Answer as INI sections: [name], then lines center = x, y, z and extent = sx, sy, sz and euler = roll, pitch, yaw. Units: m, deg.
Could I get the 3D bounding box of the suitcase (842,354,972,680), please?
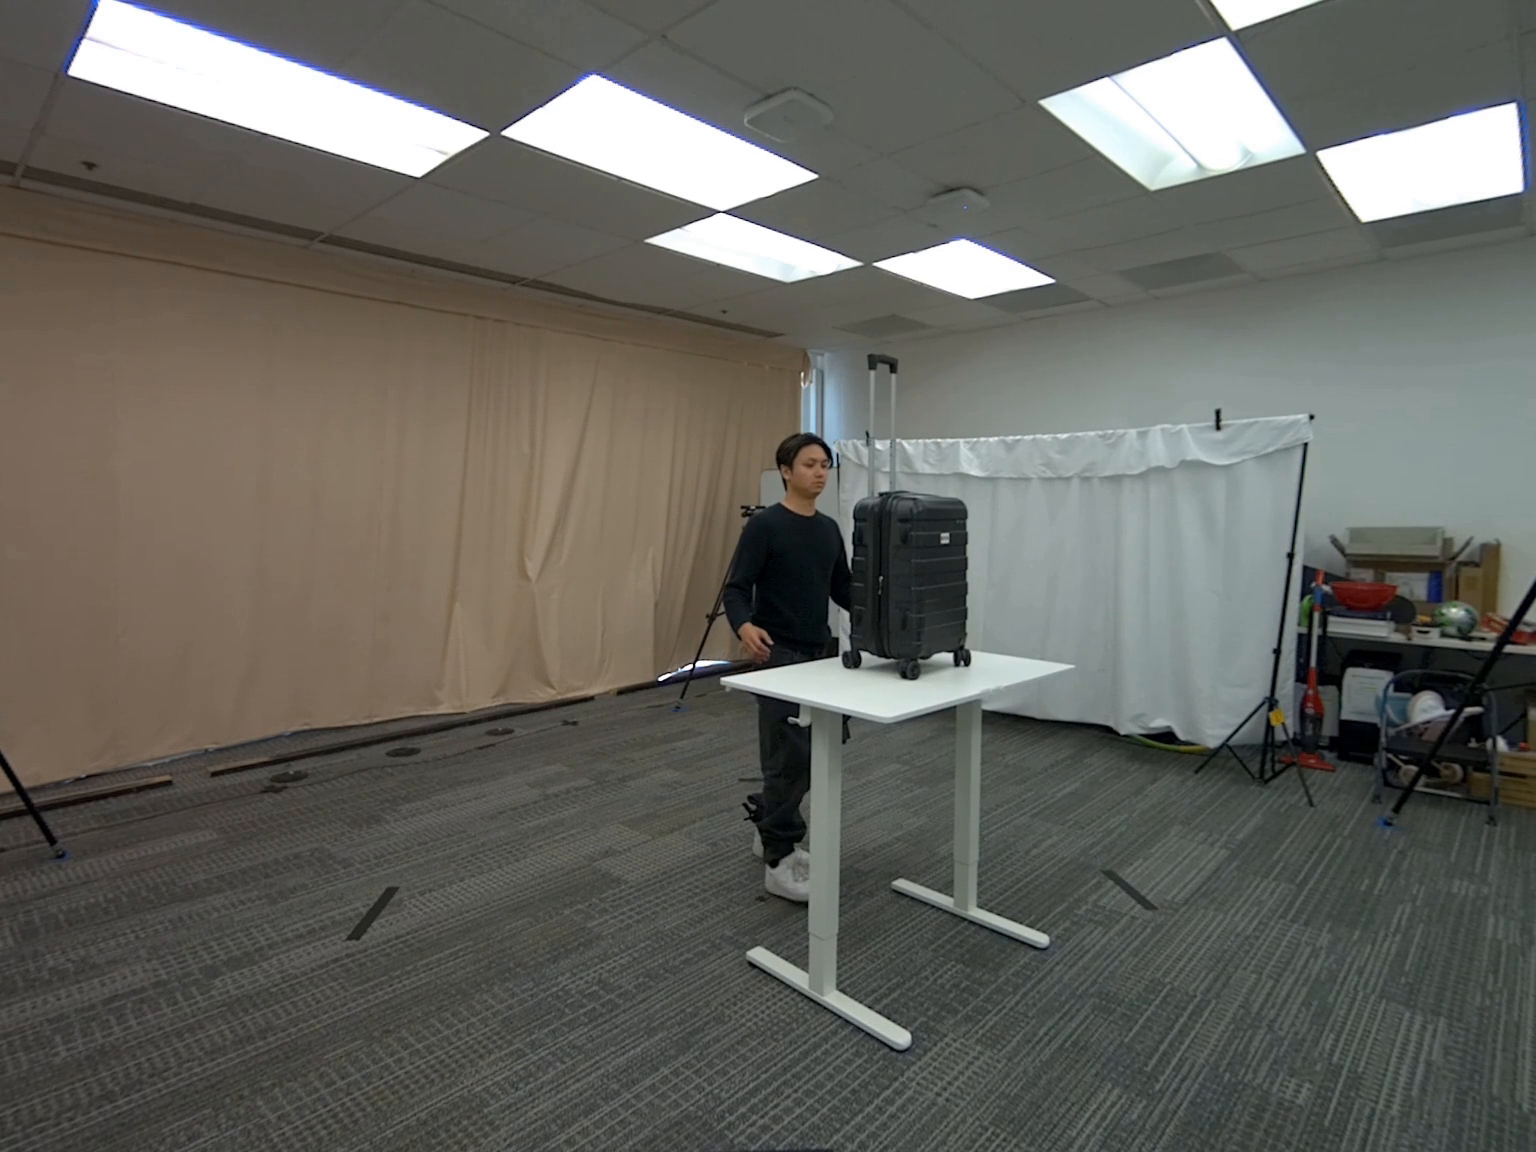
[suitcase]
center = 0.459, -0.194, 2.625
extent = 0.266, 0.976, 0.372
euler = 5, 6, 43
